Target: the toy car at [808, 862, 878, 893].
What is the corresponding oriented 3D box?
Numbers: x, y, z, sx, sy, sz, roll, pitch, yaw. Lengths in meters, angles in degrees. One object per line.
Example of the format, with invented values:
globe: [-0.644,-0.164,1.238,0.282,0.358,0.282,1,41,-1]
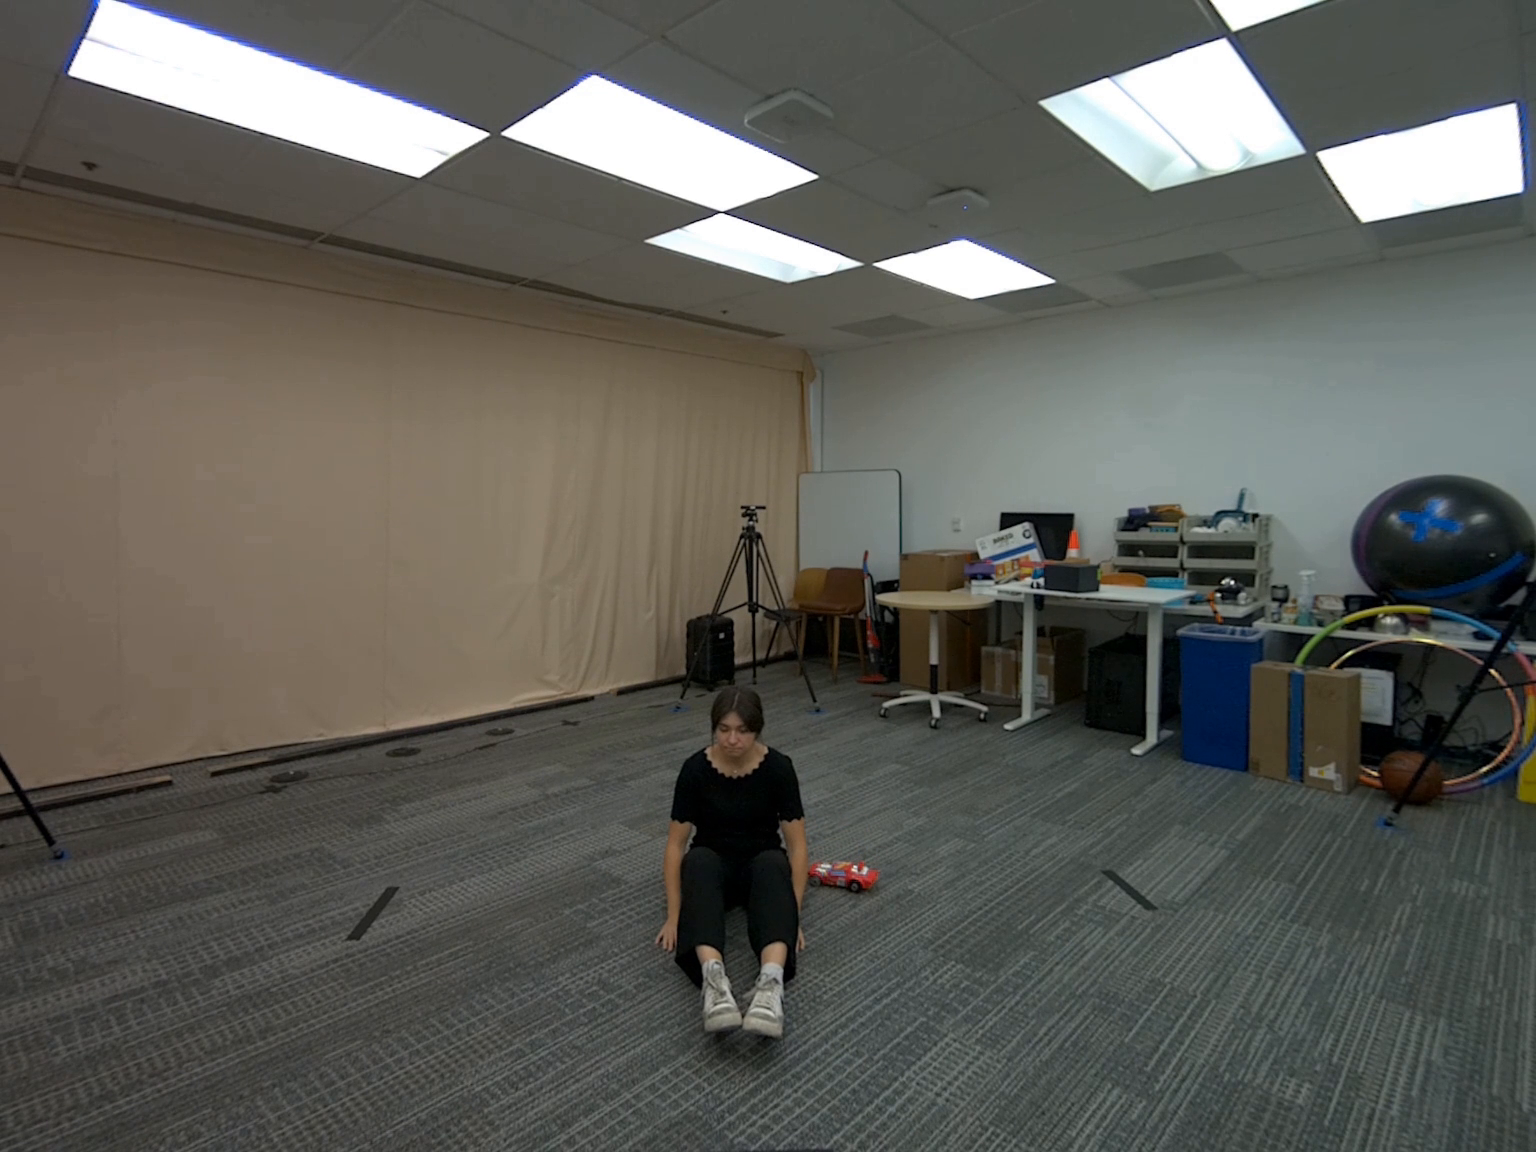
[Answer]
toy car: [0.287,1.103,3.081,0.259,0.083,0.128,-10,1,21]
